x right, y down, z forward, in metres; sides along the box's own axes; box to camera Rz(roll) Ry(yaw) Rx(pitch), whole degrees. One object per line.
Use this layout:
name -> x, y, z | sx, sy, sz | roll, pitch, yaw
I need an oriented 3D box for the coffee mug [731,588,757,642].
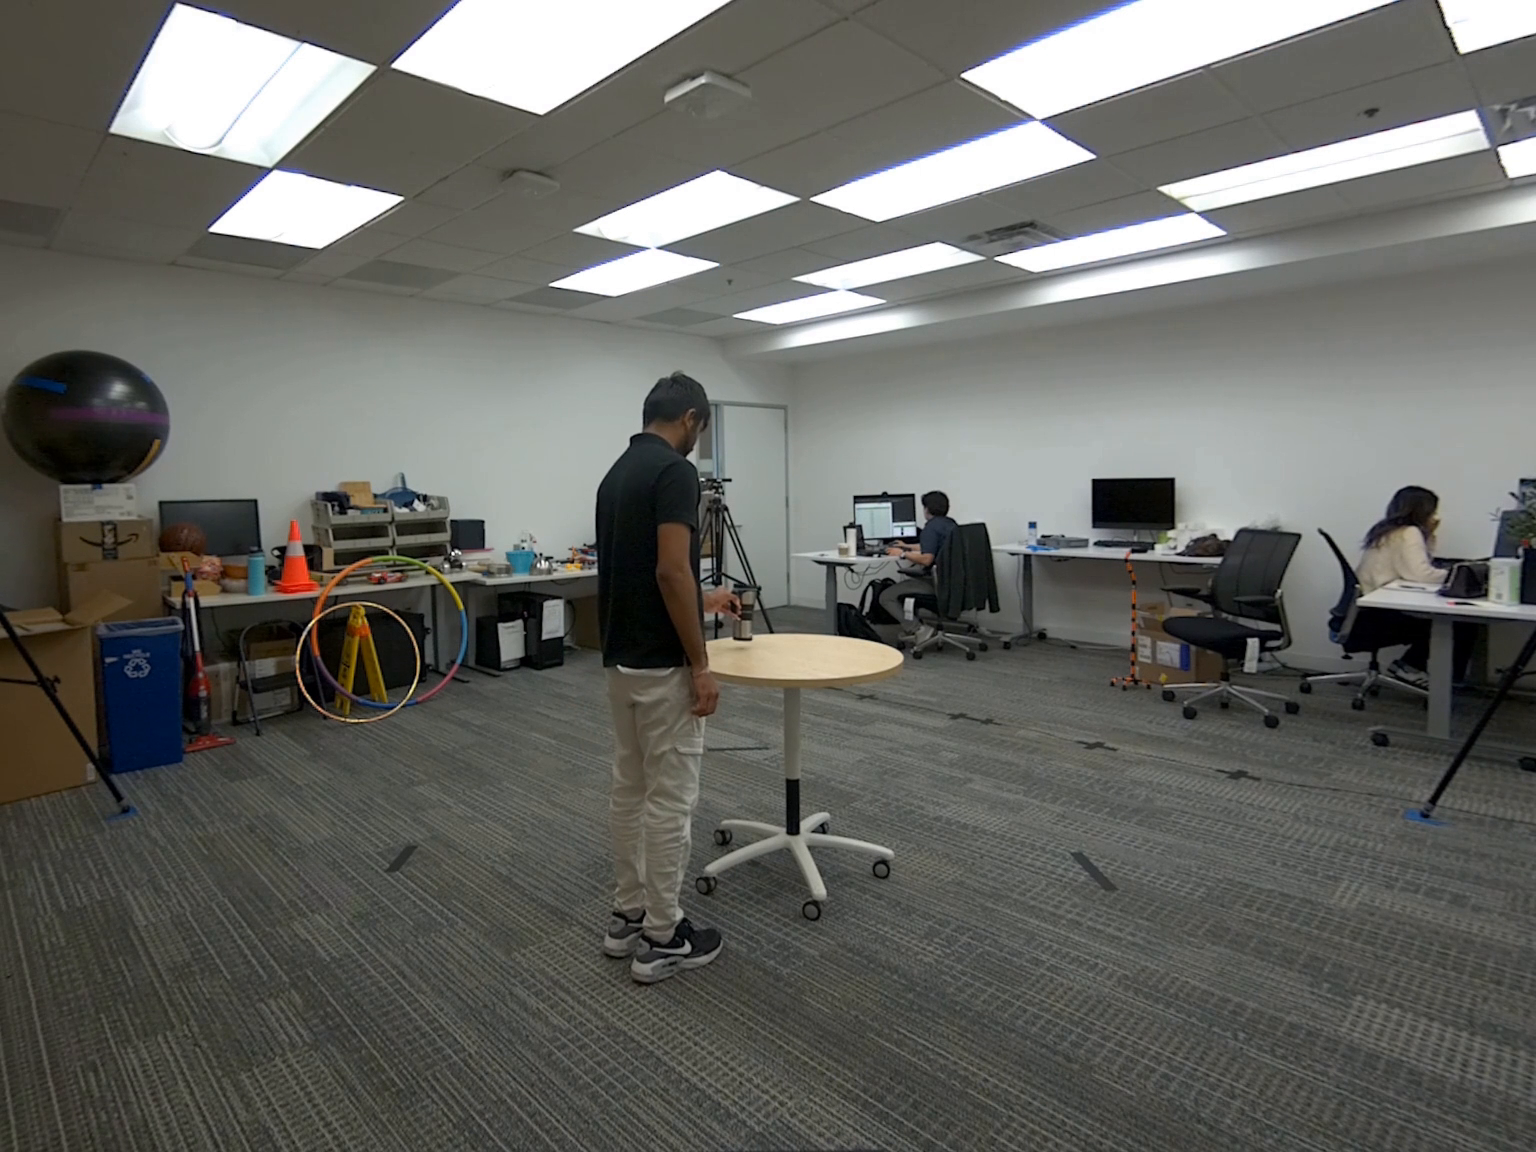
coffee mug -> -0.104, 0.129, 3.076 | 0.118, 0.203, 0.090 | 8, -1, -40
